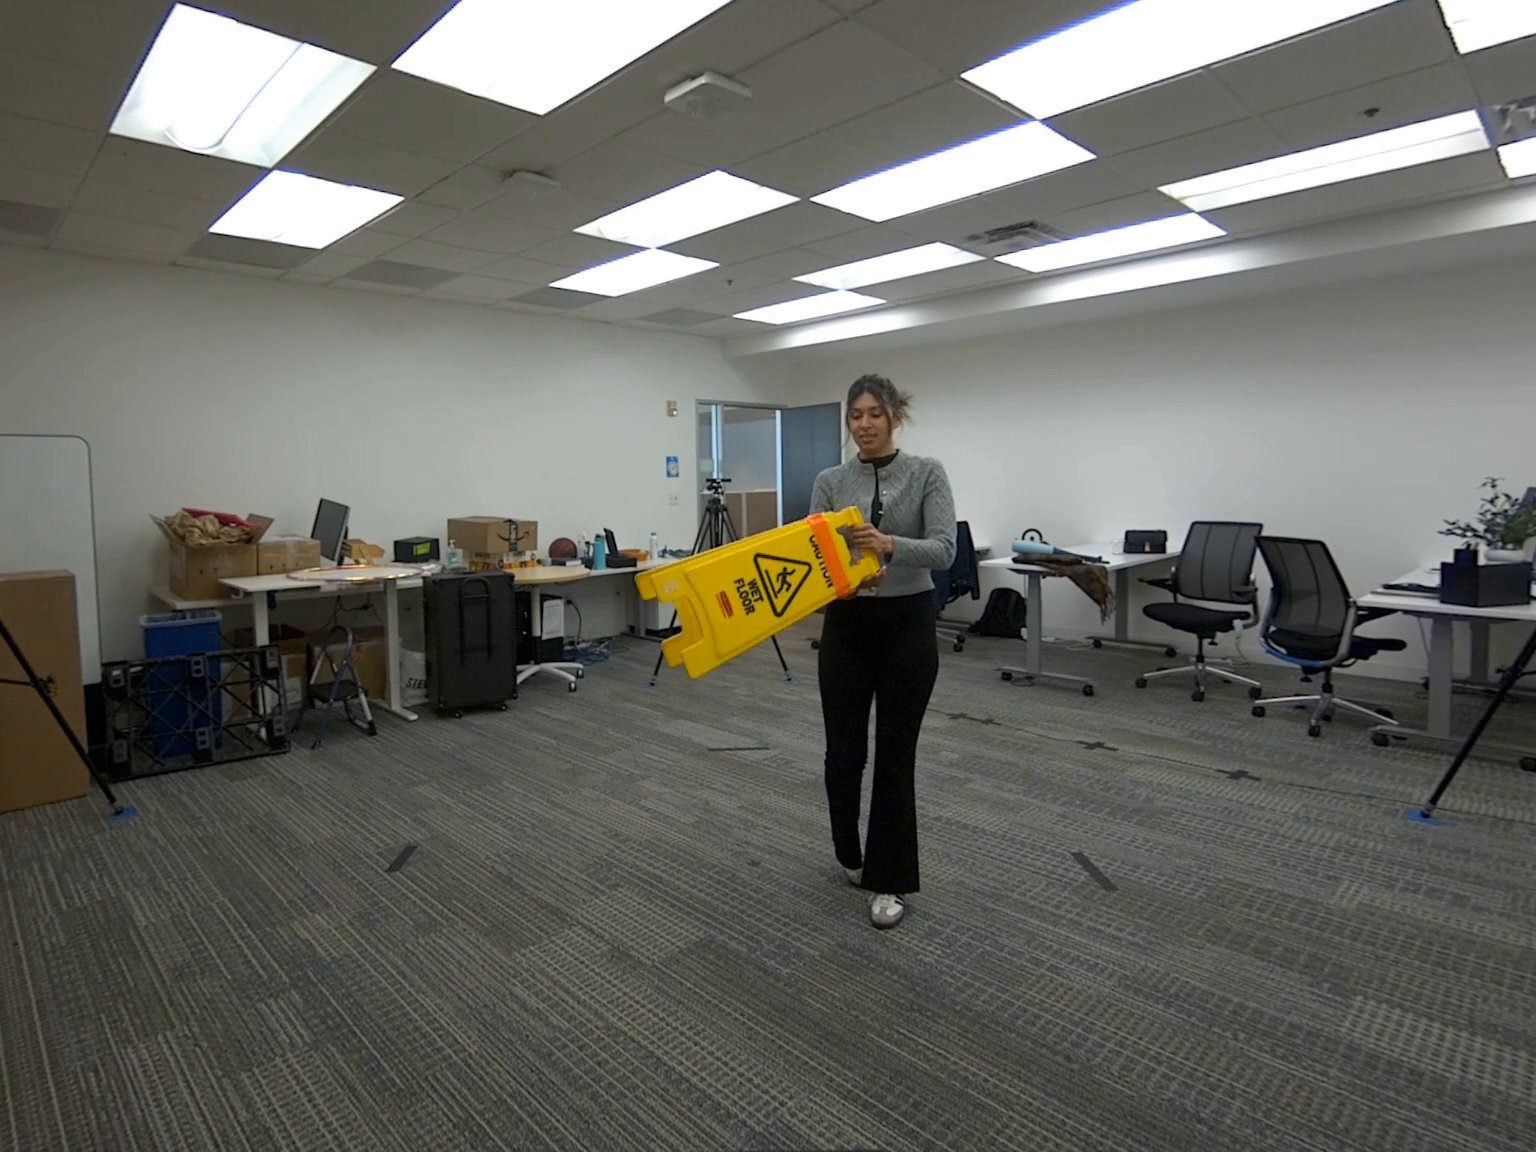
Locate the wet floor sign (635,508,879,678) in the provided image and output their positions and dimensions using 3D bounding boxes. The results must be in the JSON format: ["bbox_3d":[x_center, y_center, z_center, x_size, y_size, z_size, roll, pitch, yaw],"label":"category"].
[{"bbox_3d":[0.001,0.015,2.335,0.641,0.281,0.293,-23,4,-13],"label":"wet floor sign"}]
